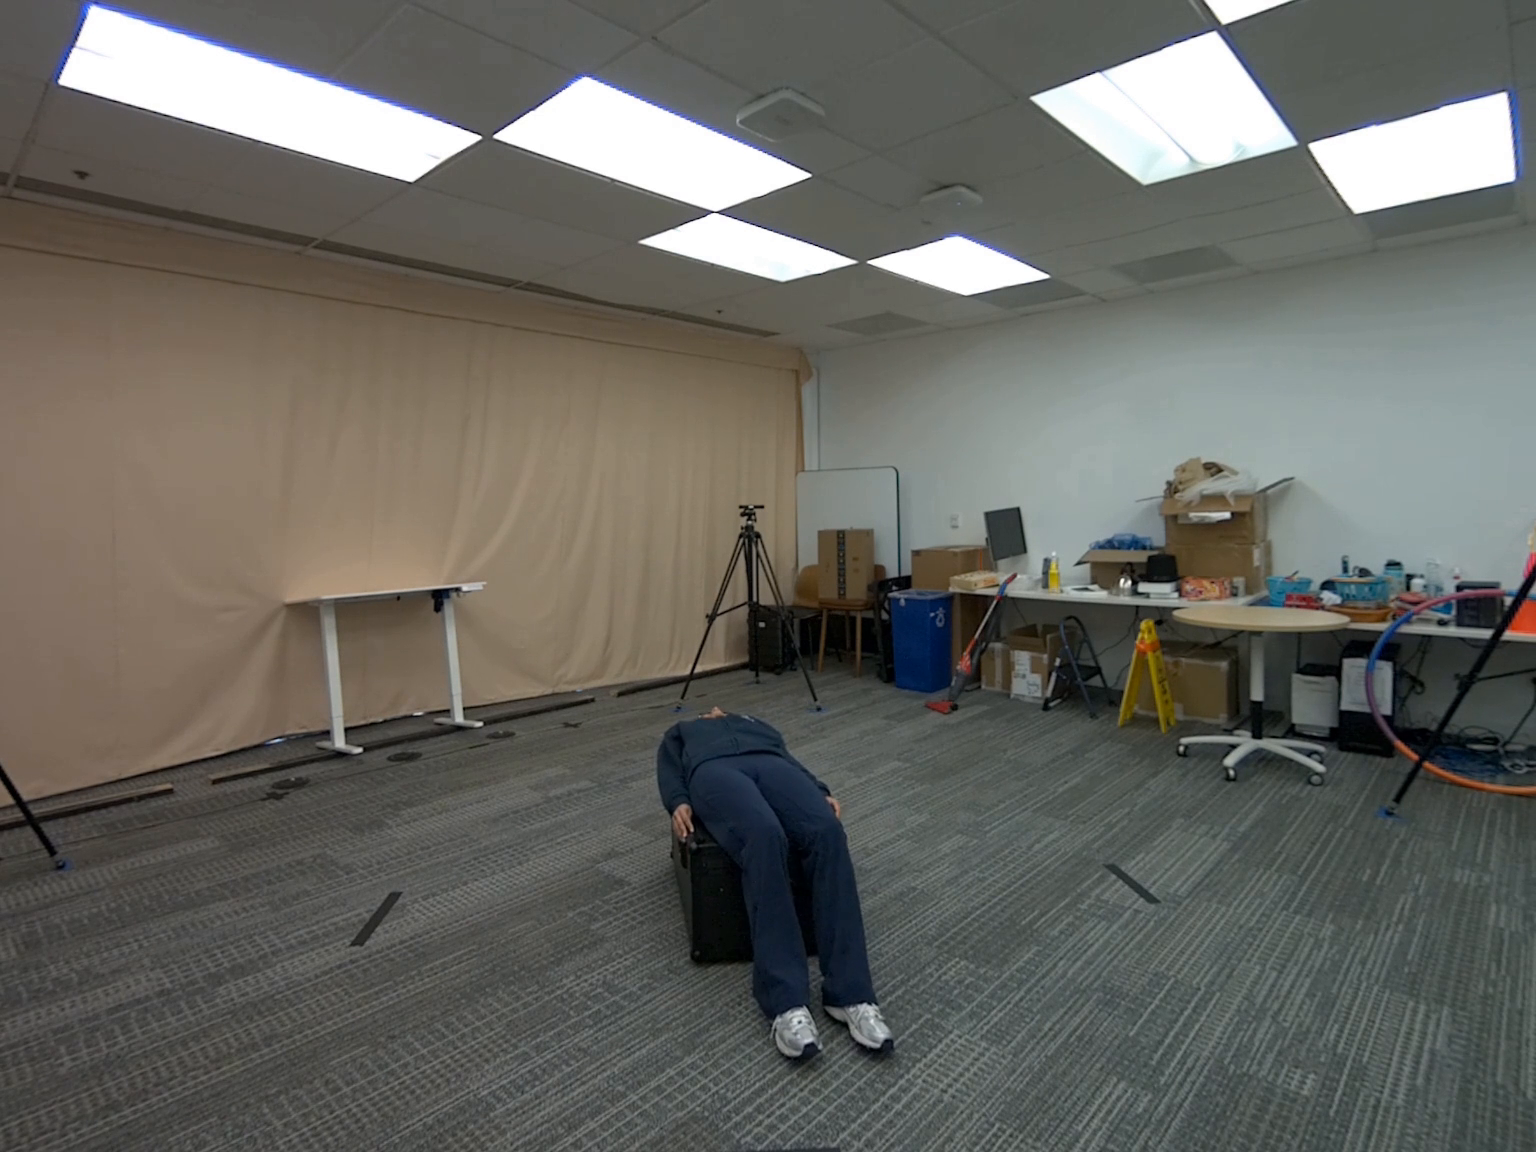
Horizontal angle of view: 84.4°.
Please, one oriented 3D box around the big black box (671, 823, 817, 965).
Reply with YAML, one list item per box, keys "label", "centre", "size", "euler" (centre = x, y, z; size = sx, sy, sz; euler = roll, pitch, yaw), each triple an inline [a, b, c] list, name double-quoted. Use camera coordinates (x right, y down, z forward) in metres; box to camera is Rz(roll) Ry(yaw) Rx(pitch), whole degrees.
- label: "big black box"
  centre: [-0.073, 0.954, 2.977]
  size: [0.516, 0.395, 0.872]
  euler: [-3, 5, -10]
